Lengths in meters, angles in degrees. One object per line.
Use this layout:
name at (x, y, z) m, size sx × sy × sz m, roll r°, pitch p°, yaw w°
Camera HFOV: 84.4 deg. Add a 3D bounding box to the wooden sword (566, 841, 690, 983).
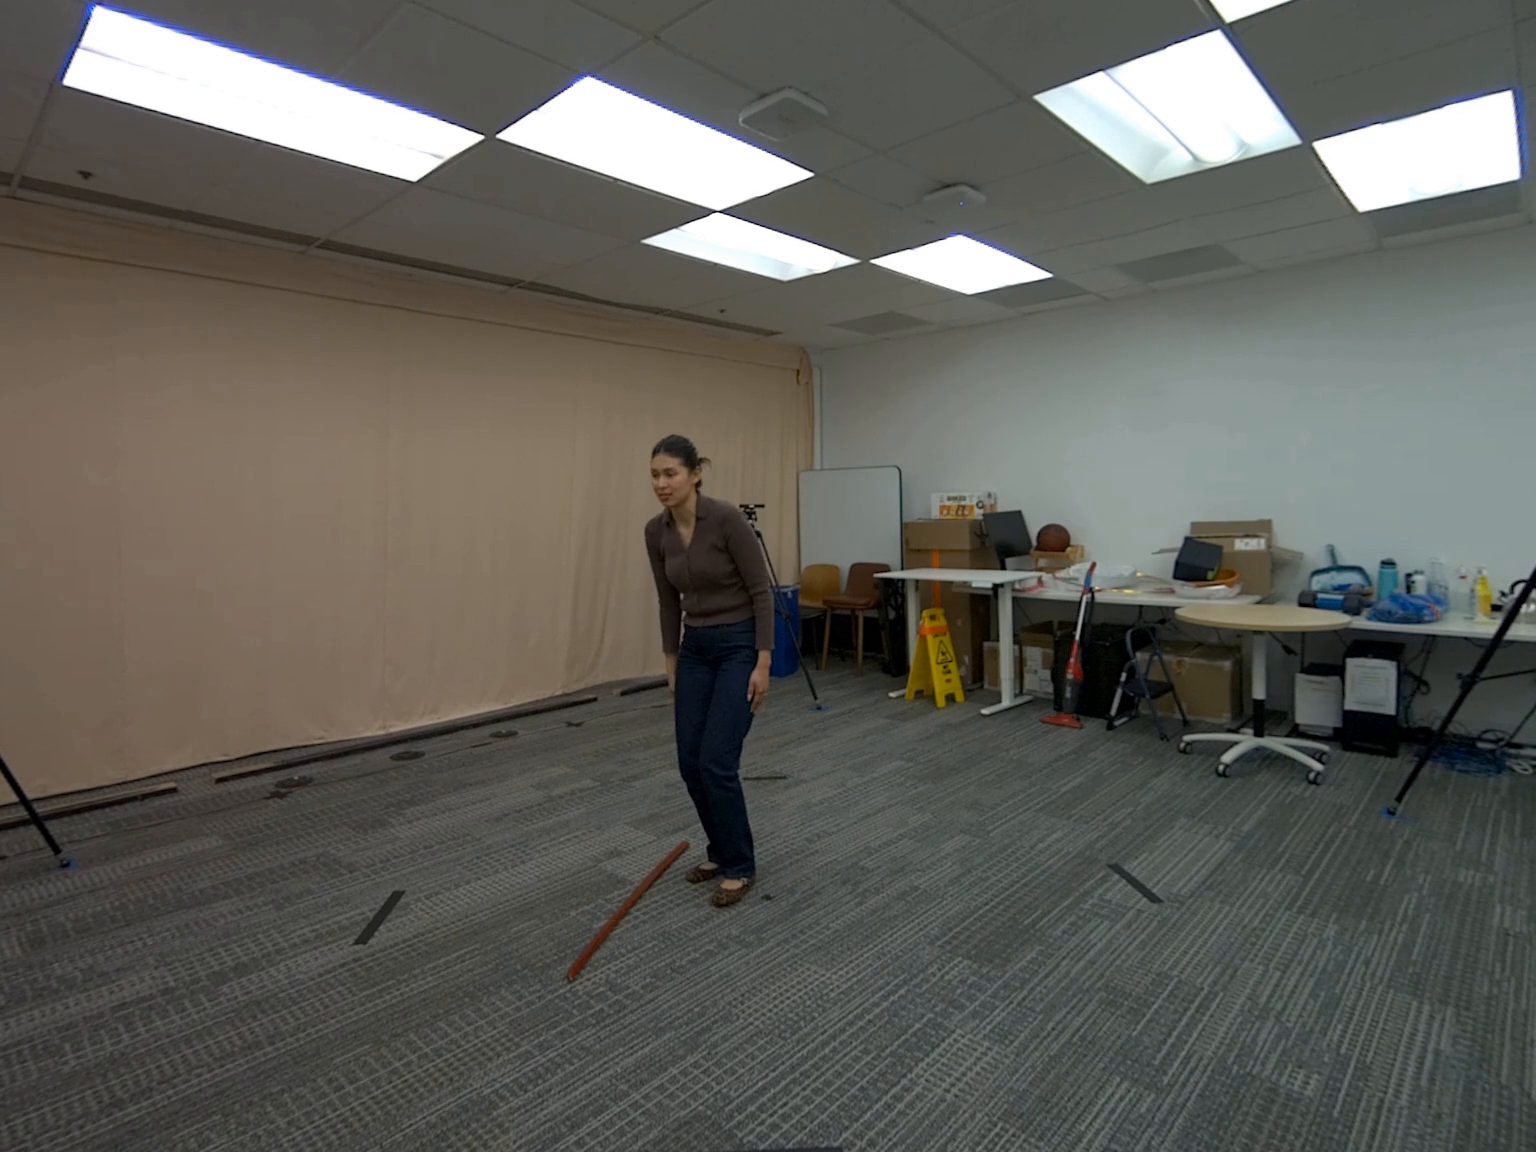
wooden sword at (-0.464, 1.123, 2.971) m, size 0.024 × 0.051 × 1.011 m, roll -21°, pitch 1°, yaw 15°
